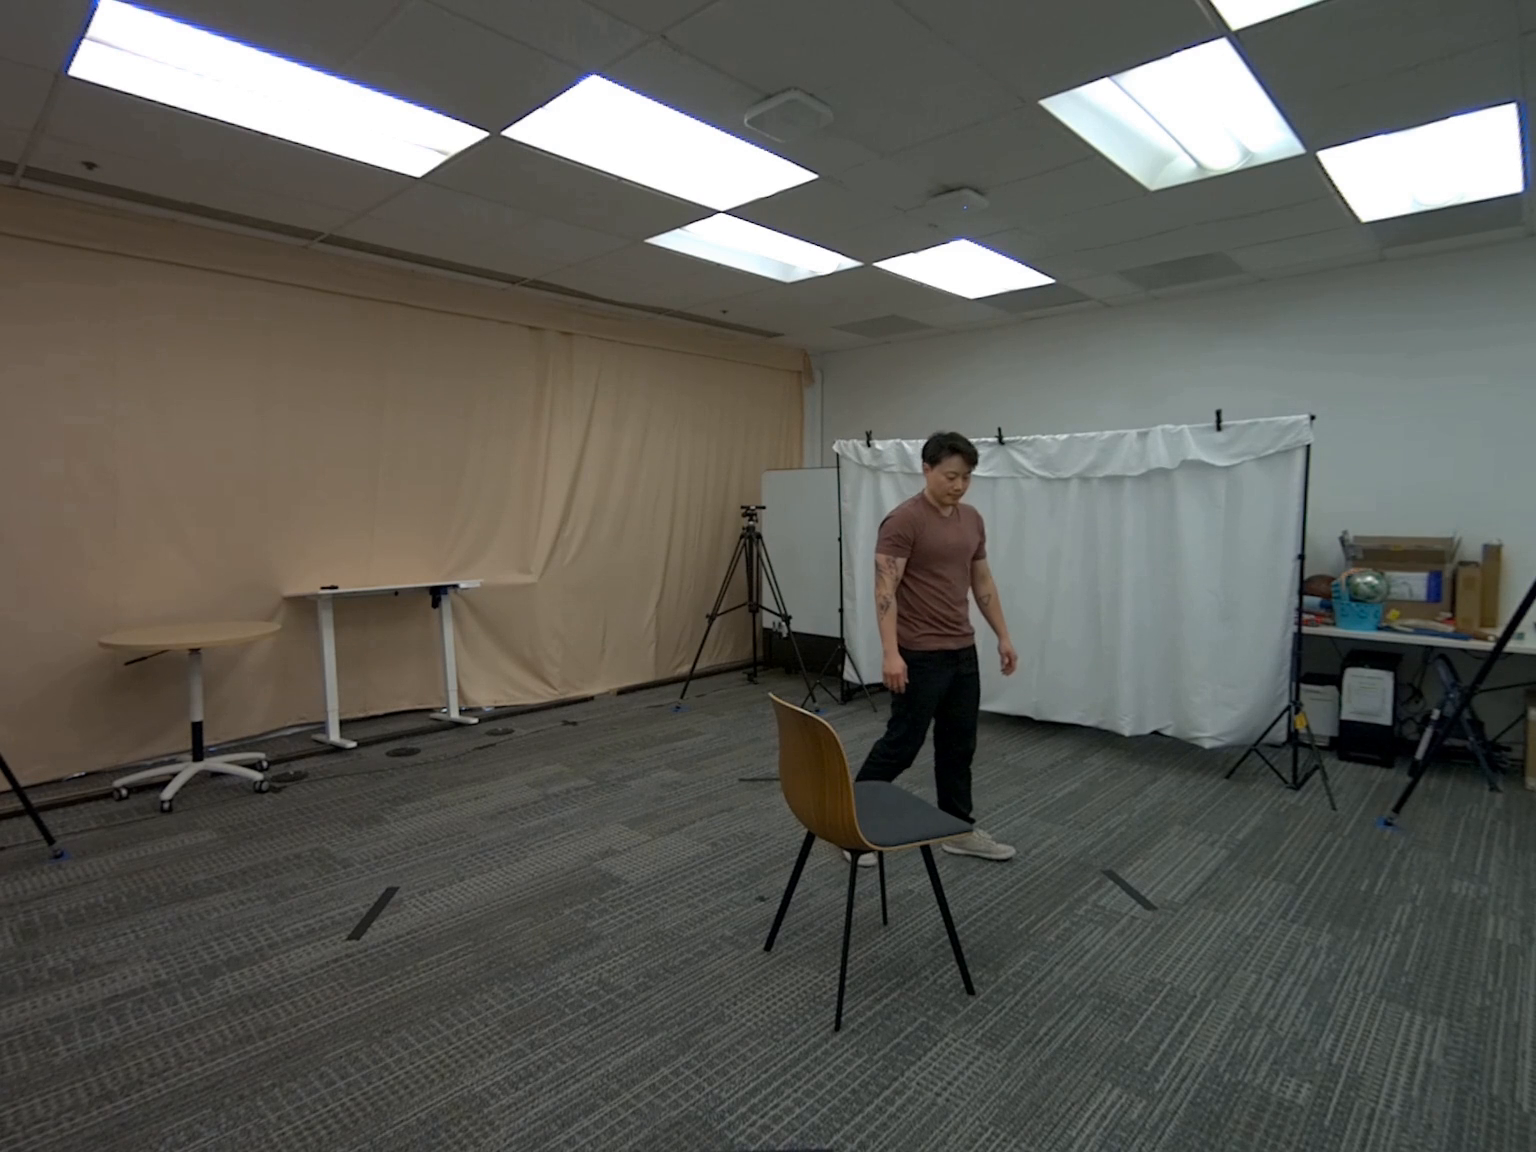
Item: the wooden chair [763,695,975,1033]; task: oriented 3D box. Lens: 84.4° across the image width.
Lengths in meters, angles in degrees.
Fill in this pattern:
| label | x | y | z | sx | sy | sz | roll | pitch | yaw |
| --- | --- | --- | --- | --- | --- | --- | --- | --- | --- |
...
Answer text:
| label | x | y | z | sx | sy | sz | roll | pitch | yaw |
| --- | --- | --- | --- | --- | --- | --- | --- | --- | --- |
| wooden chair | 0.299 | 0.757 | 2.492 | 0.512 | 0.874 | 0.490 | -6 | 5 | -24 |
